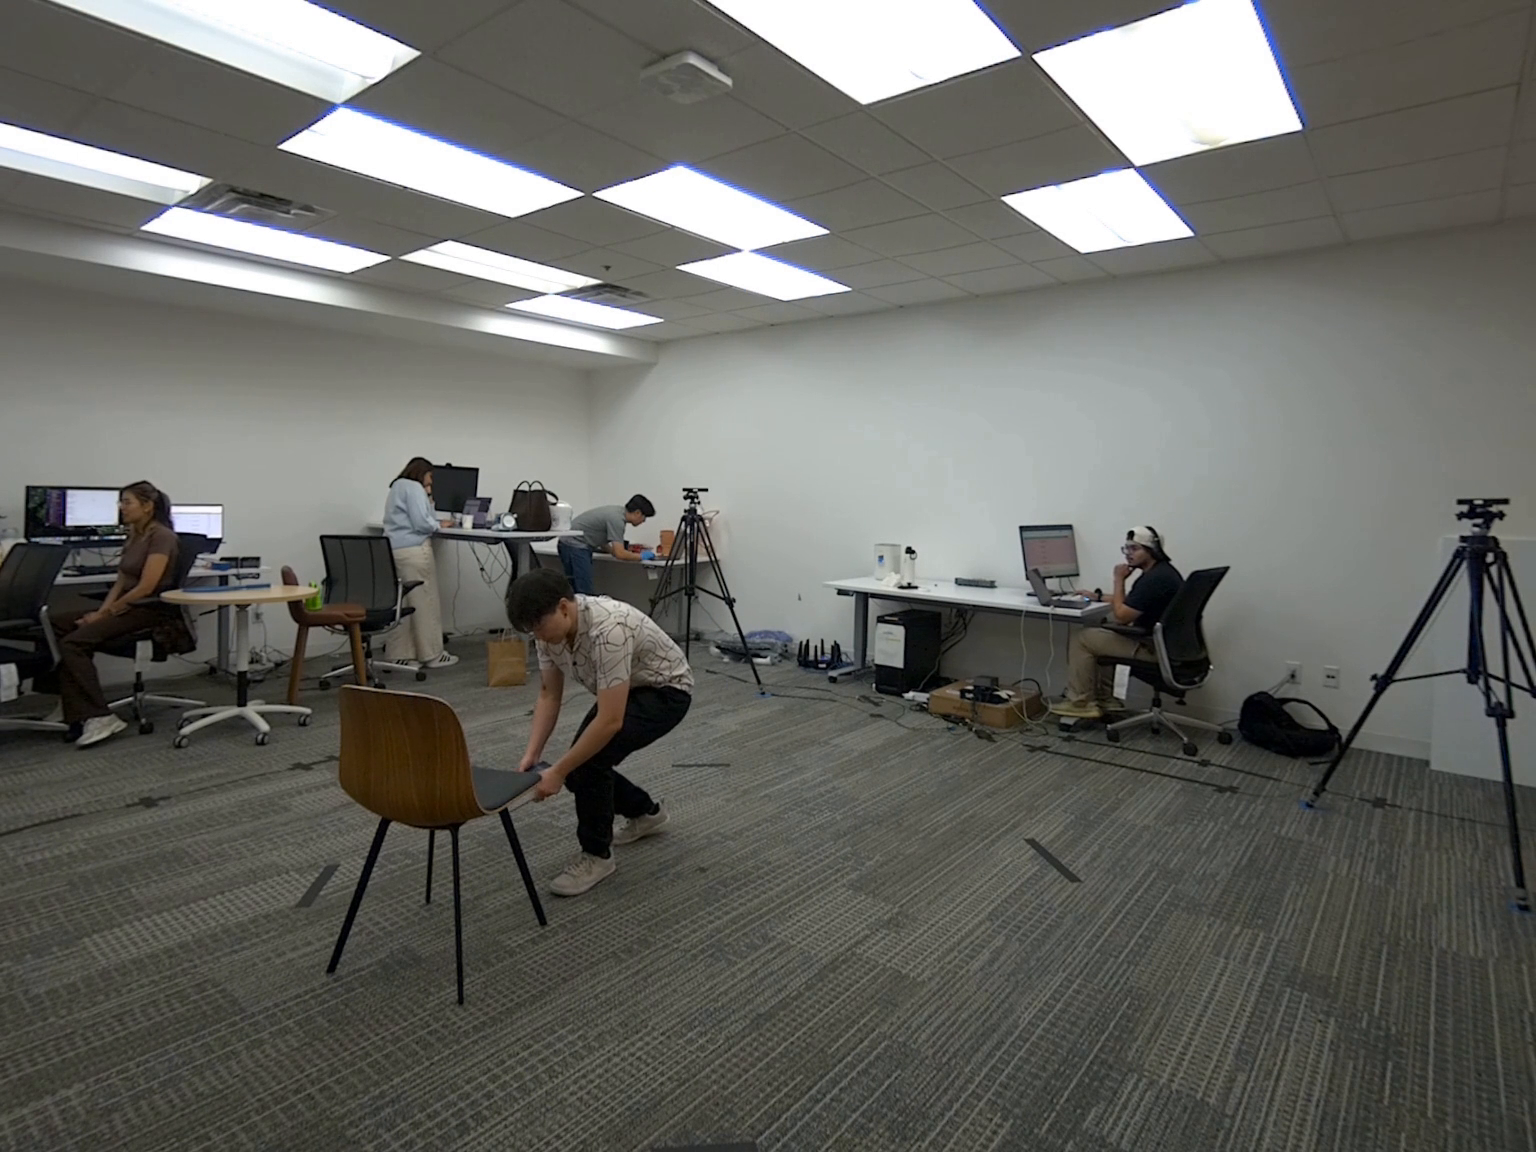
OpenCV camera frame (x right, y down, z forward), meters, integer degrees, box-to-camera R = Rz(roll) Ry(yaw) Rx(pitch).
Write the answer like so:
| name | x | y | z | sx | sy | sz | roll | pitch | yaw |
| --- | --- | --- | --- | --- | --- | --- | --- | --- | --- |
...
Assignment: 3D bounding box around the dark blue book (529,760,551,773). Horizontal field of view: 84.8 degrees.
| name | x | y | z | sx | sy | sz | roll | pitch | yaw |
| --- | --- | --- | --- | --- | --- | --- | --- | --- | --- |
| dark blue book | -0.843 | 0.716 | 2.917 | 0.240 | 0.045 | 0.168 | -19 | 13 | -36 |
